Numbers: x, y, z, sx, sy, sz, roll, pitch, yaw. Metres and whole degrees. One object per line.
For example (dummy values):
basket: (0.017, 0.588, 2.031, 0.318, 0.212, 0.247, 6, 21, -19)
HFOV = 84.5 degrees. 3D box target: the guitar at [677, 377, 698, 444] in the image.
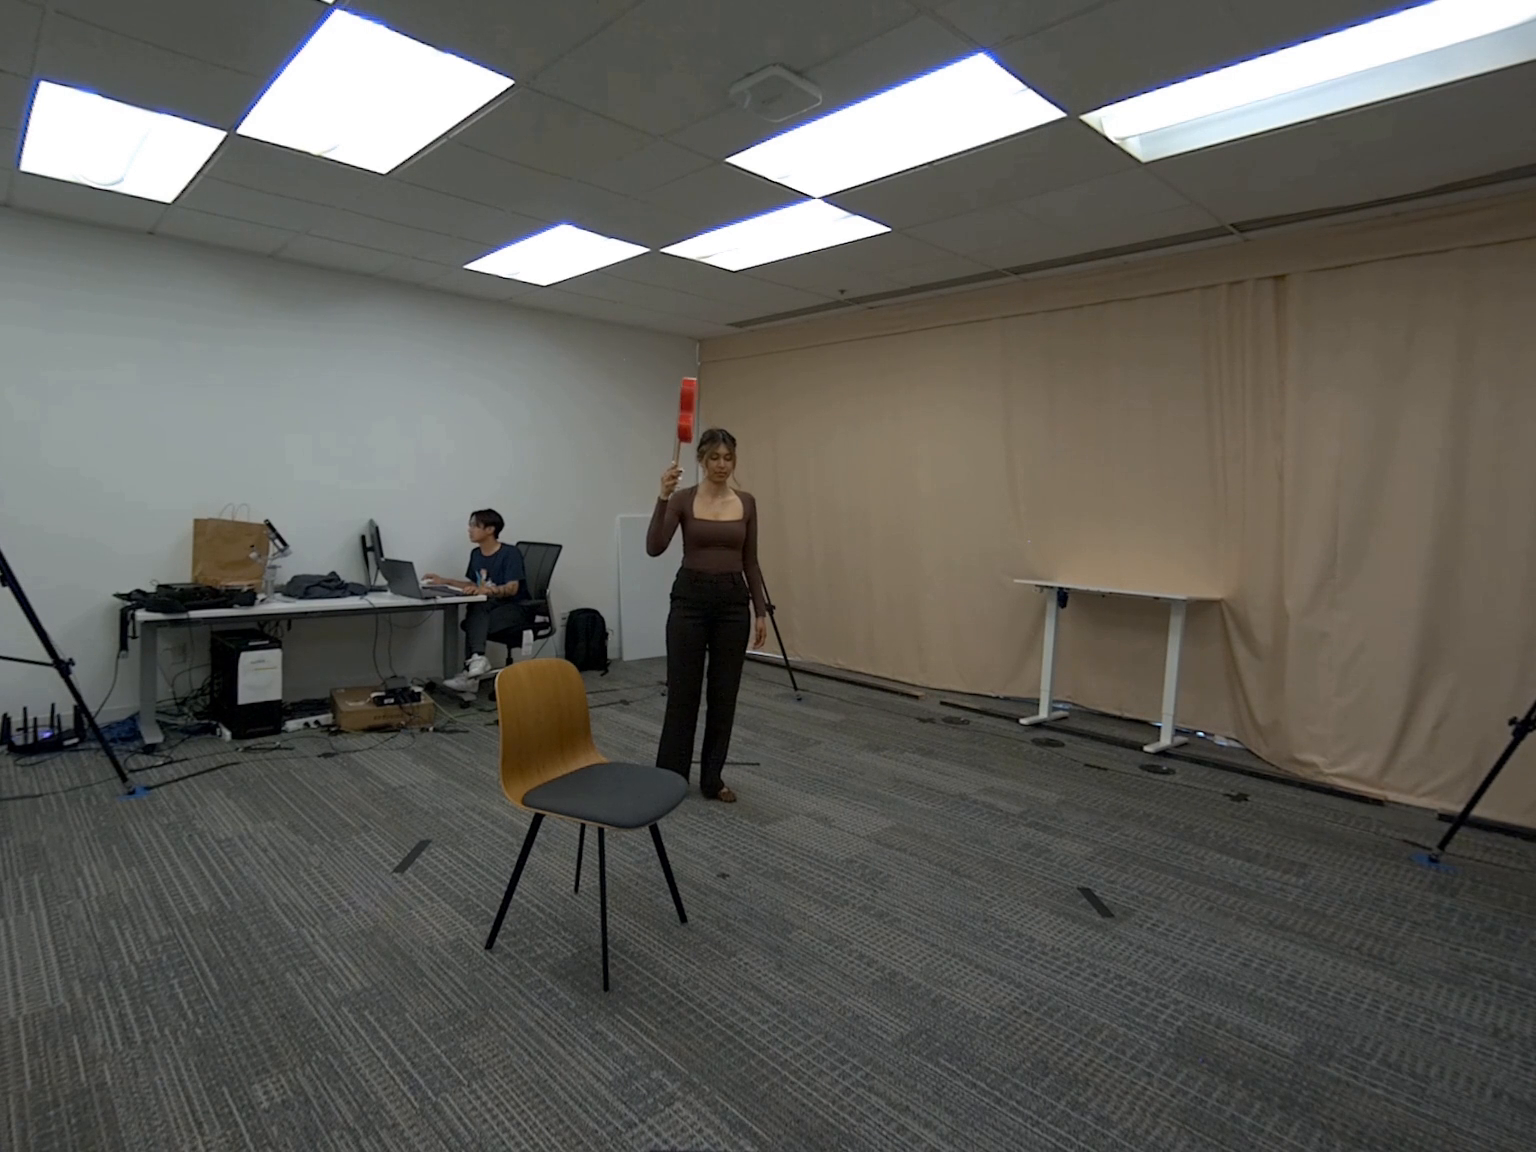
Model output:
guitar: (-0.376, -0.615, 3.688, 0.071, 0.496, 0.193, 6, 6, 1)
